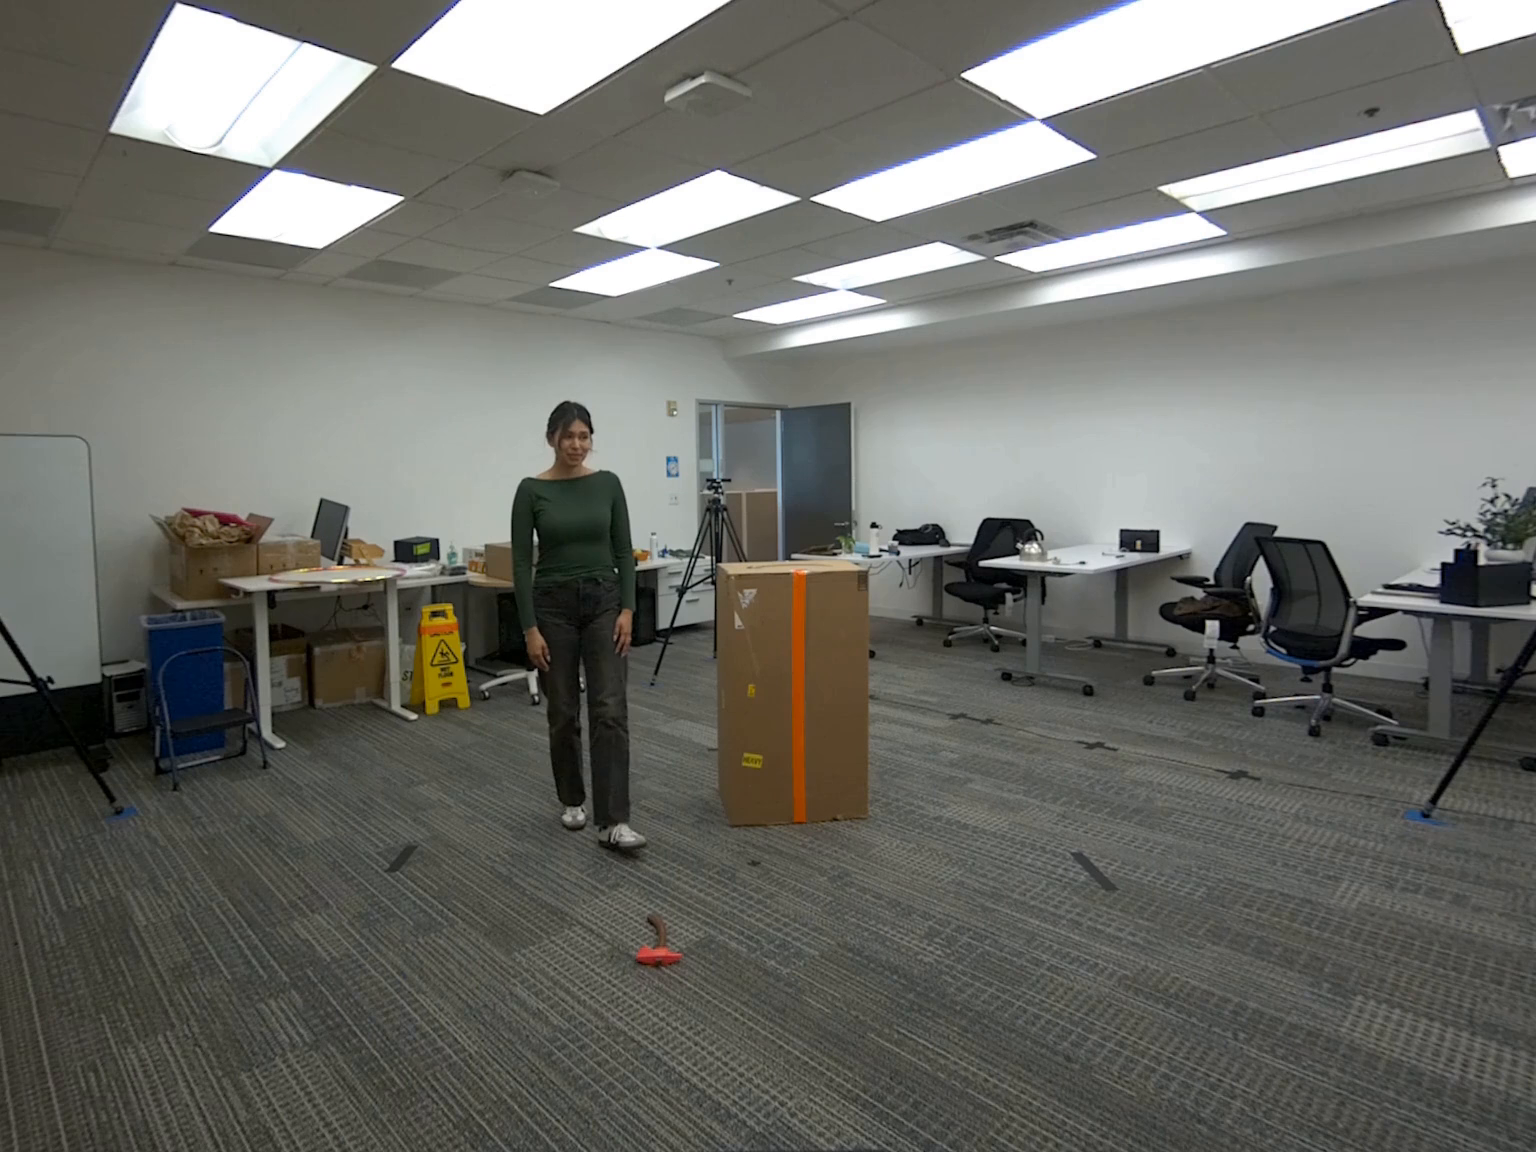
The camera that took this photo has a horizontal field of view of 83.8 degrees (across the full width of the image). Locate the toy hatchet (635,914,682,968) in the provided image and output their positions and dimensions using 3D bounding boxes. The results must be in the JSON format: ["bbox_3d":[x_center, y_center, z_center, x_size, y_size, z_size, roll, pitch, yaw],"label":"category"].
[{"bbox_3d":[-0.349,1.094,2.588,0.129,0.029,0.276,-5,6,-21],"label":"toy hatchet"}]
